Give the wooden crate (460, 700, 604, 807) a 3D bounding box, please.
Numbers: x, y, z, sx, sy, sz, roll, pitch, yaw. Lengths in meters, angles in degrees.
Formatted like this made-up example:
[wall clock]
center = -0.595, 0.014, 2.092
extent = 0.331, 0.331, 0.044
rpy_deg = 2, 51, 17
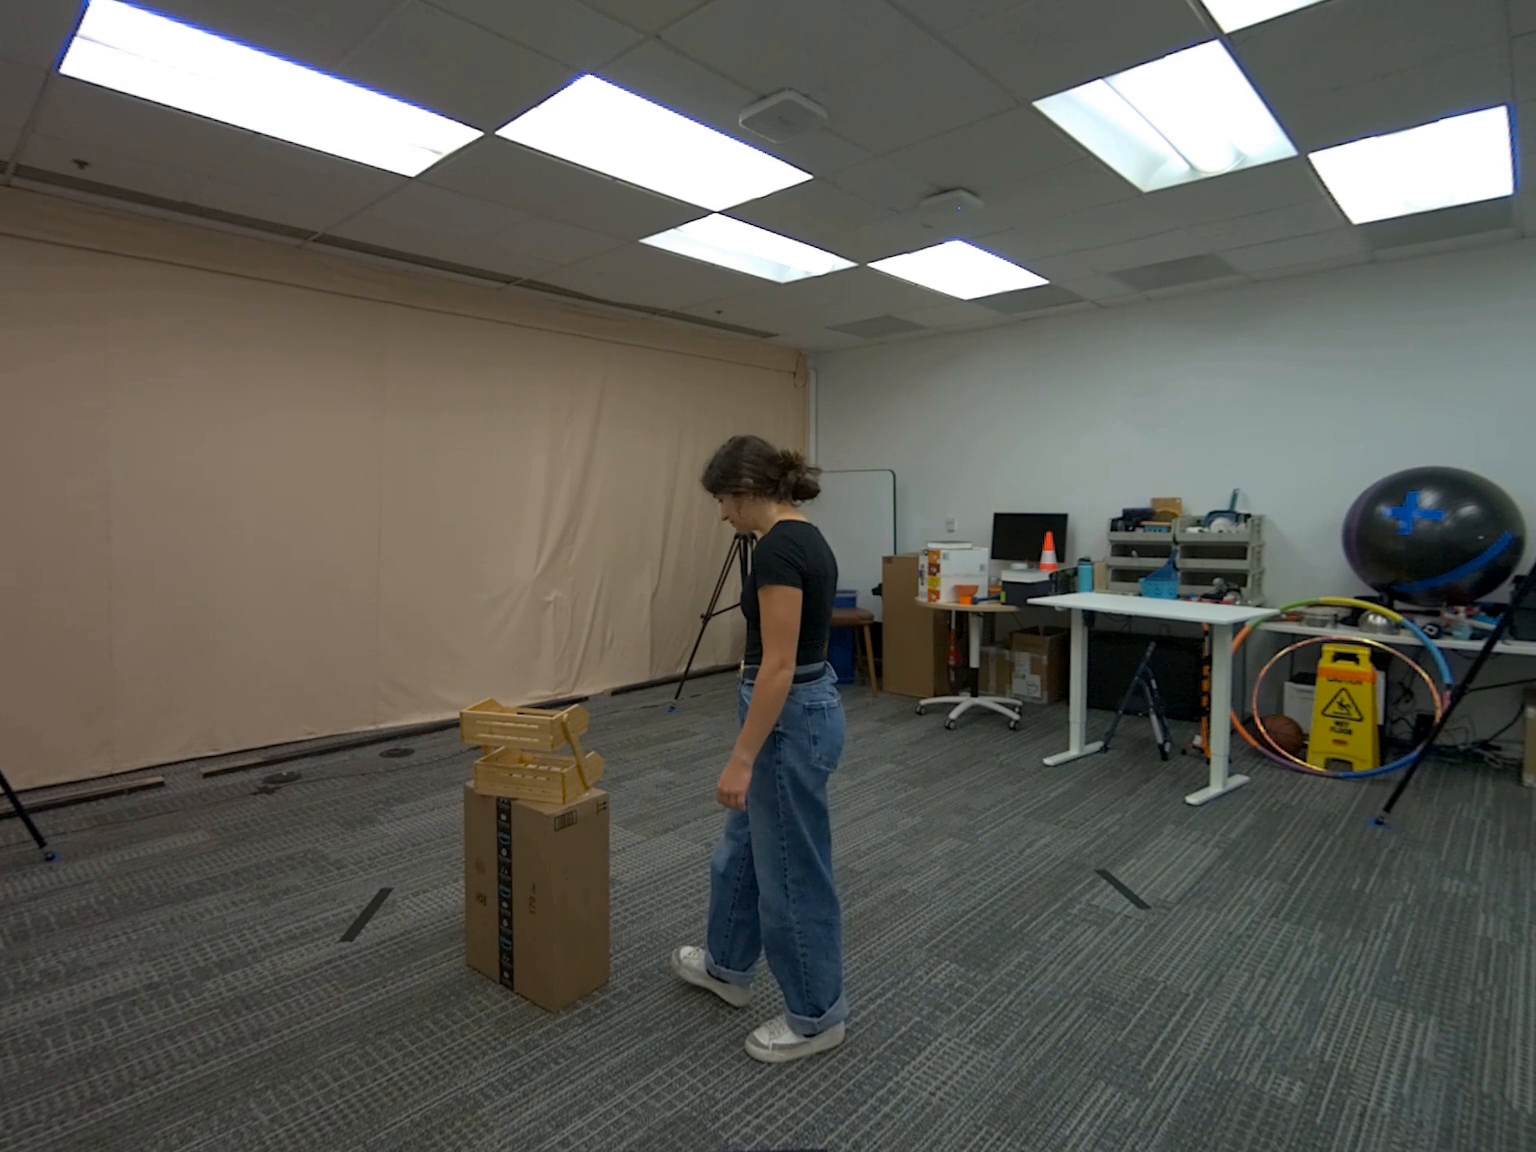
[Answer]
[wooden crate]
center = -0.684, 0.489, 2.499
extent = 0.331, 0.272, 0.297
rpy_deg = 1, 6, 17
